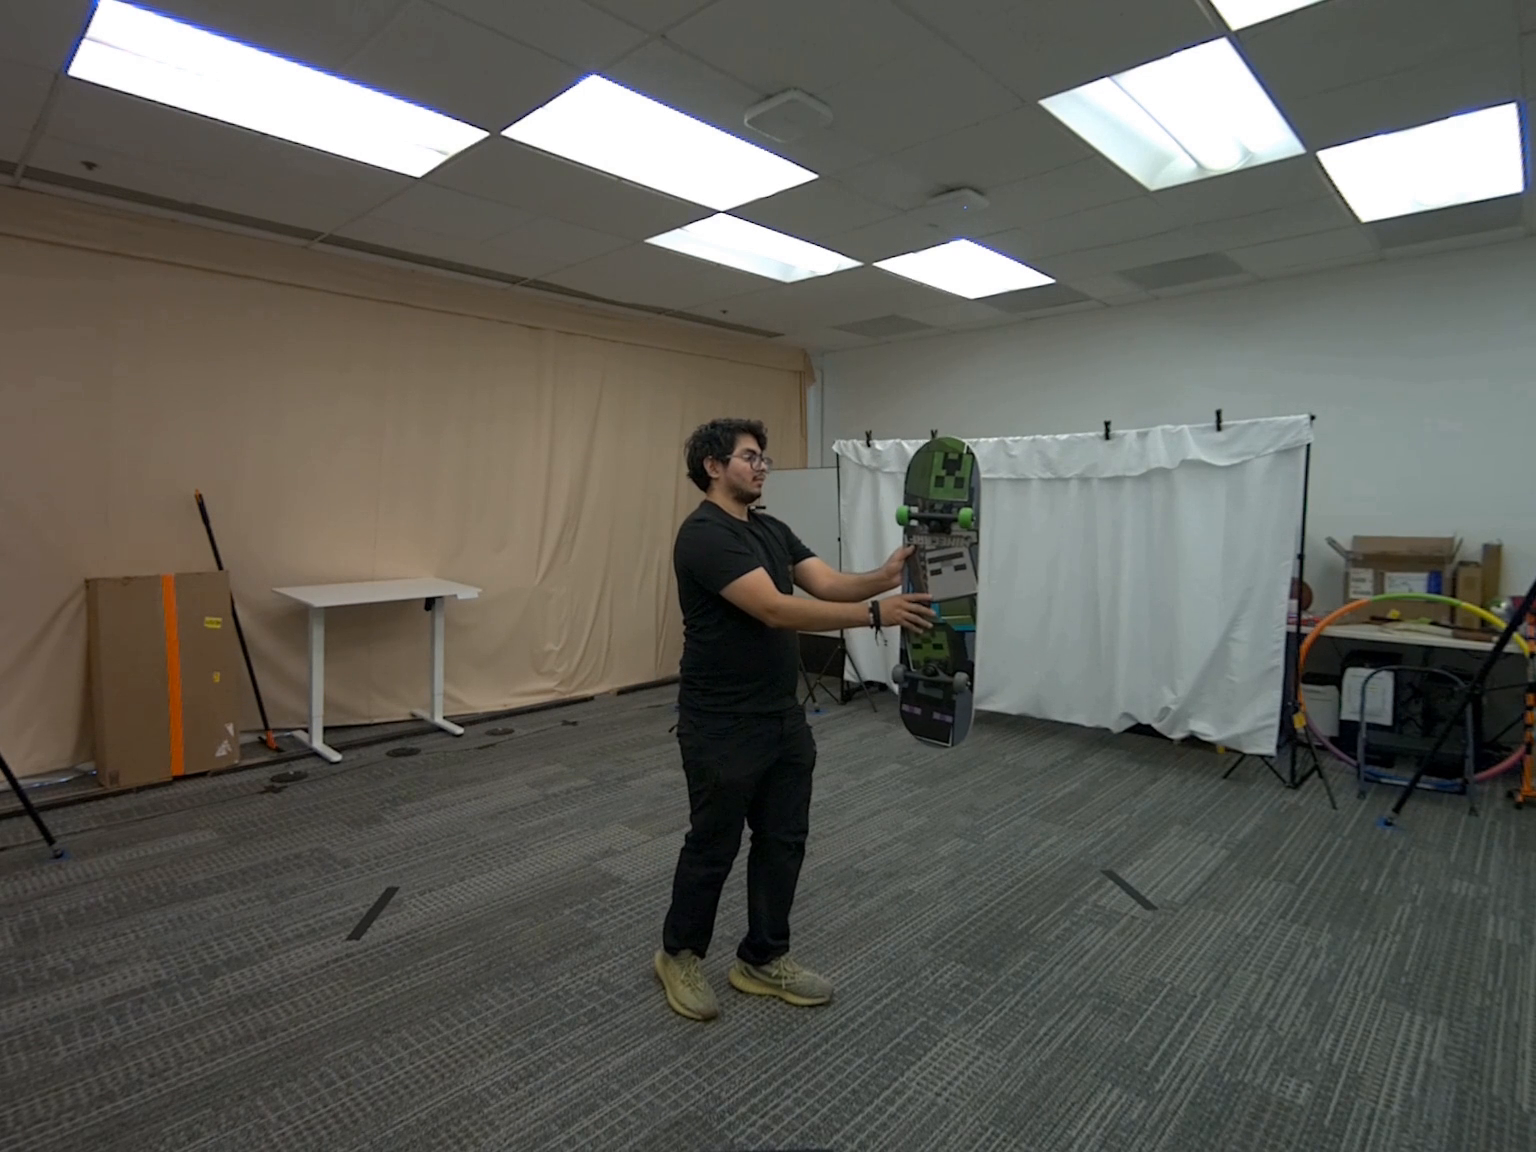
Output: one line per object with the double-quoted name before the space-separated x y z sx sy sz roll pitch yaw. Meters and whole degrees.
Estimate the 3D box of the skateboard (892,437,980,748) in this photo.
"skateboard" 0.416 0.052 2.081 0.199 0.783 0.107 5 6 32
